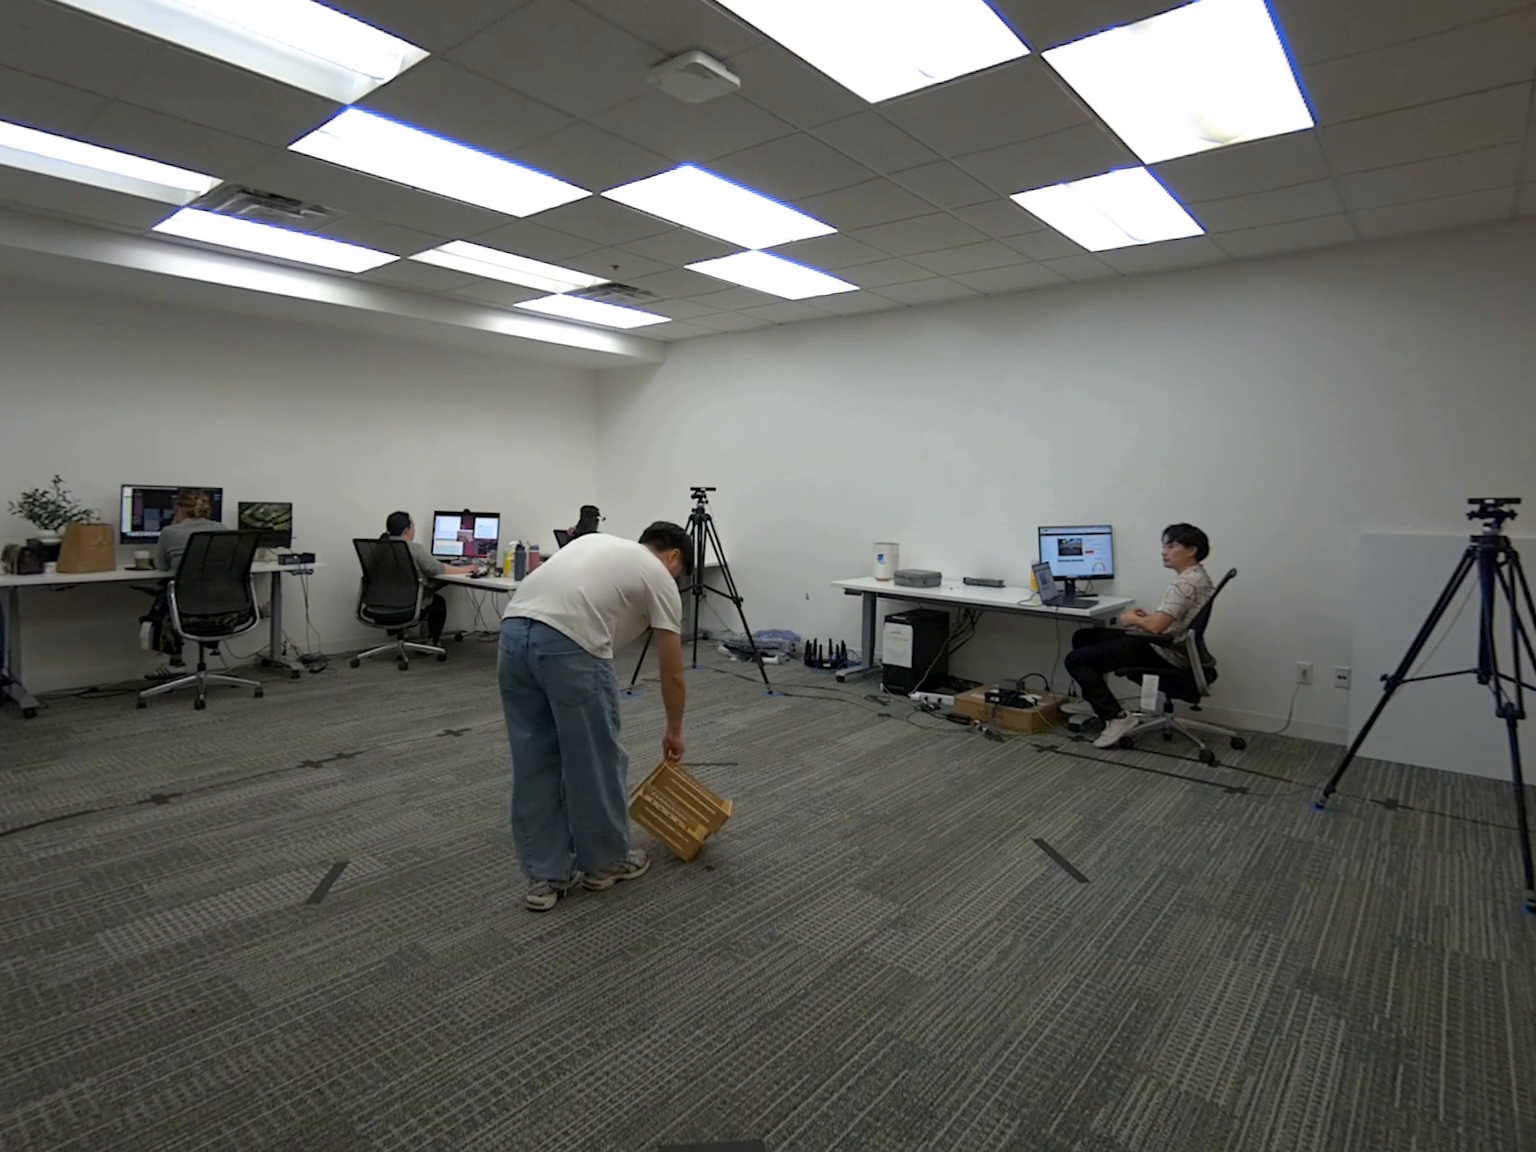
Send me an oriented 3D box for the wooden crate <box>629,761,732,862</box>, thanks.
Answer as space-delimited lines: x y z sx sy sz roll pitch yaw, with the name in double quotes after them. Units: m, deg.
-0.343 0.856 3.244 0.324 0.273 0.303 38 6 -2 "wooden crate"
